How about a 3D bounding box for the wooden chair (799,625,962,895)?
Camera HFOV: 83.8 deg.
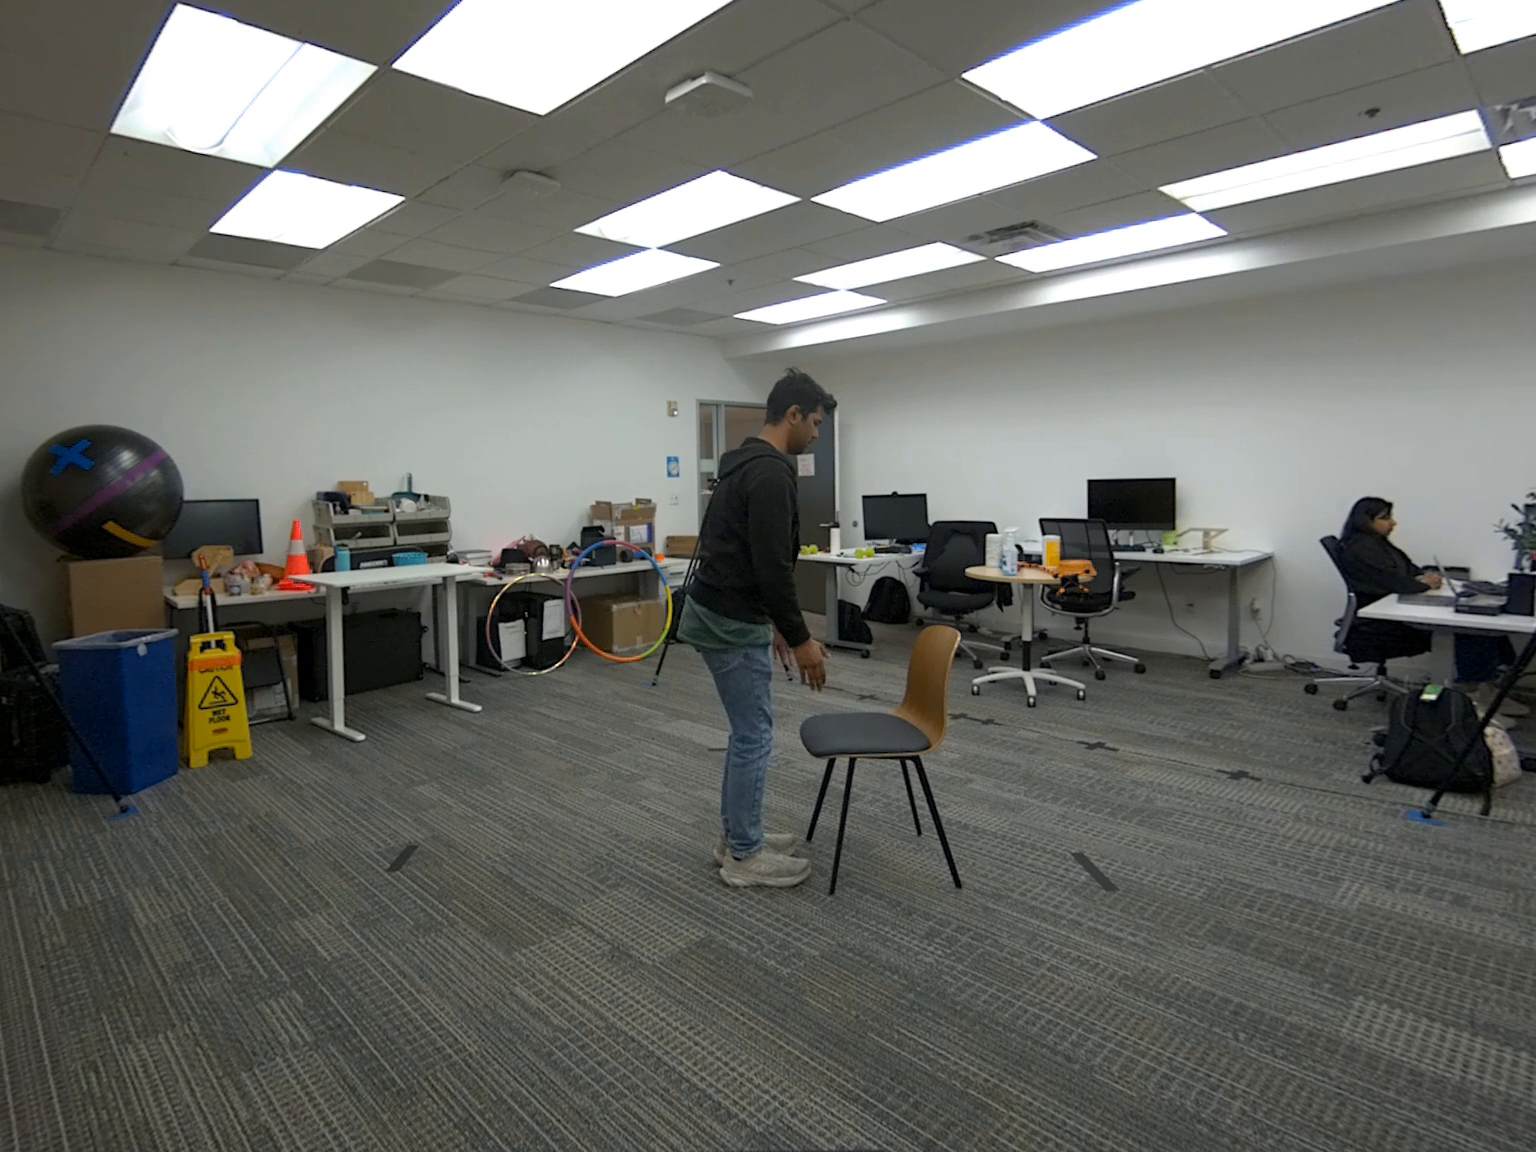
[{"bbox_3d":[0.386,0.609,3.063,0.520,0.874,0.482,3,4,-6],"label":"wooden chair"}]
